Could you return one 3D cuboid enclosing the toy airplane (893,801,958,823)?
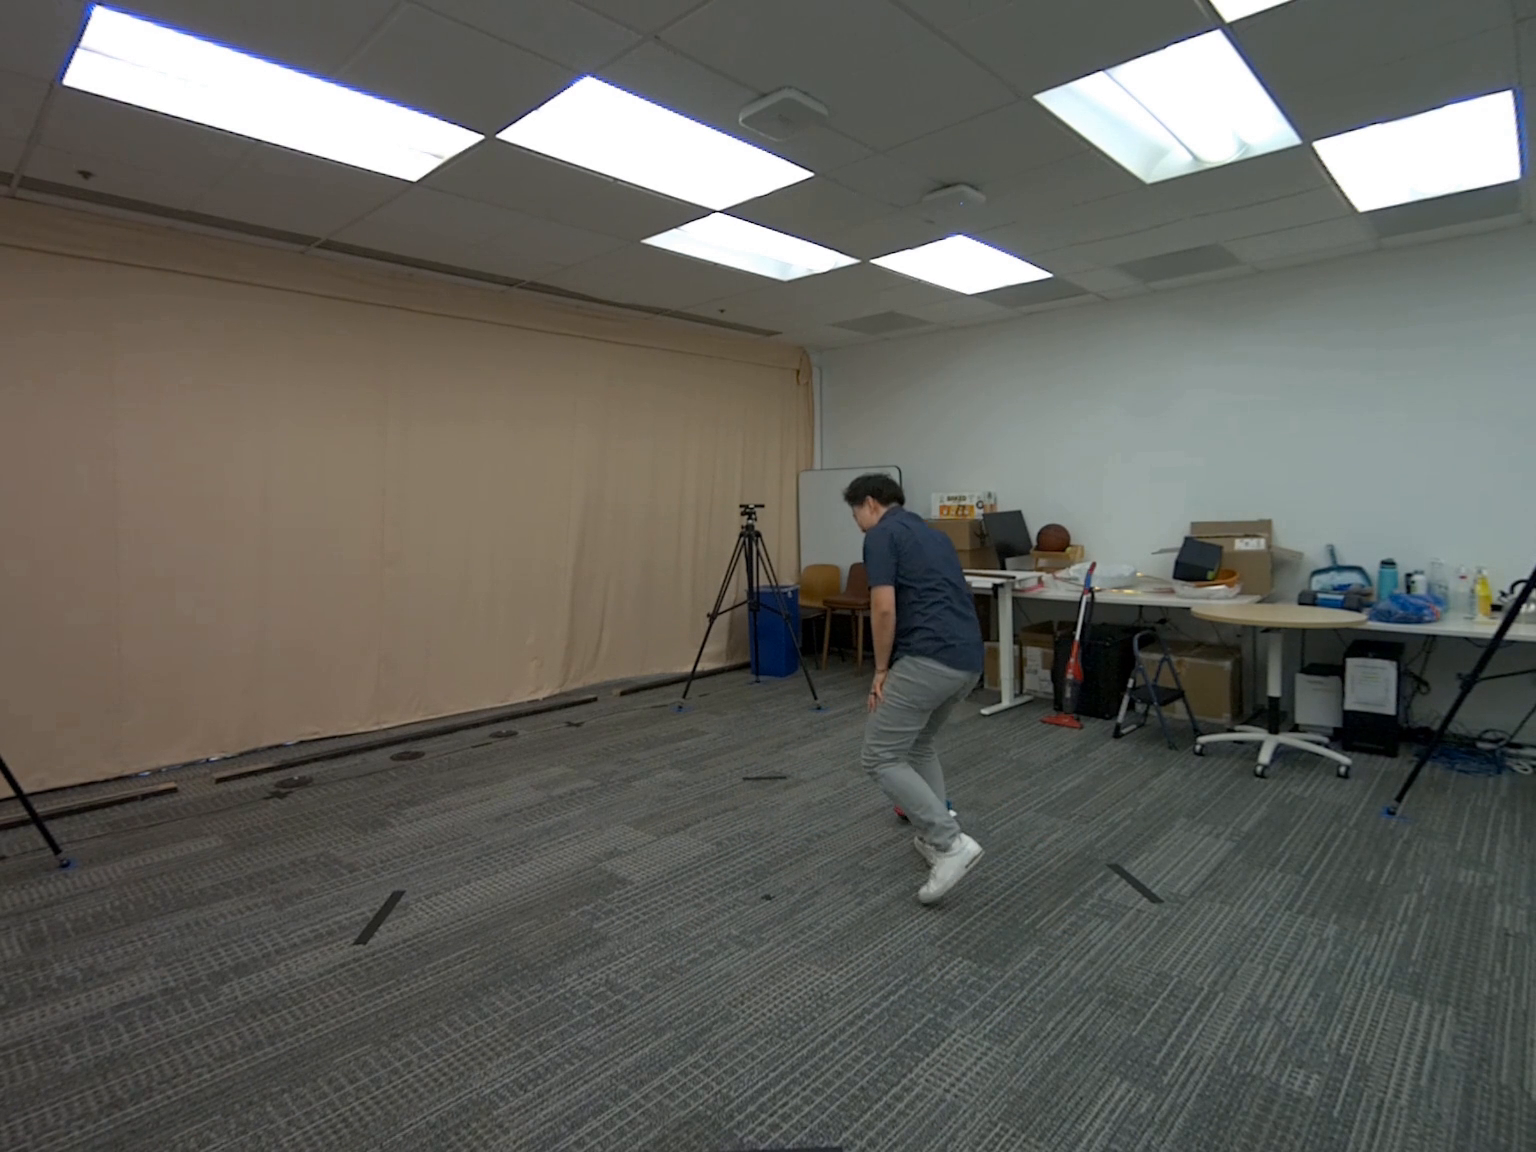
[{"bbox_3d":[0.700,0.993,3.681,0.265,0.156,0.245,0,4,24],"label":"toy airplane"}]
